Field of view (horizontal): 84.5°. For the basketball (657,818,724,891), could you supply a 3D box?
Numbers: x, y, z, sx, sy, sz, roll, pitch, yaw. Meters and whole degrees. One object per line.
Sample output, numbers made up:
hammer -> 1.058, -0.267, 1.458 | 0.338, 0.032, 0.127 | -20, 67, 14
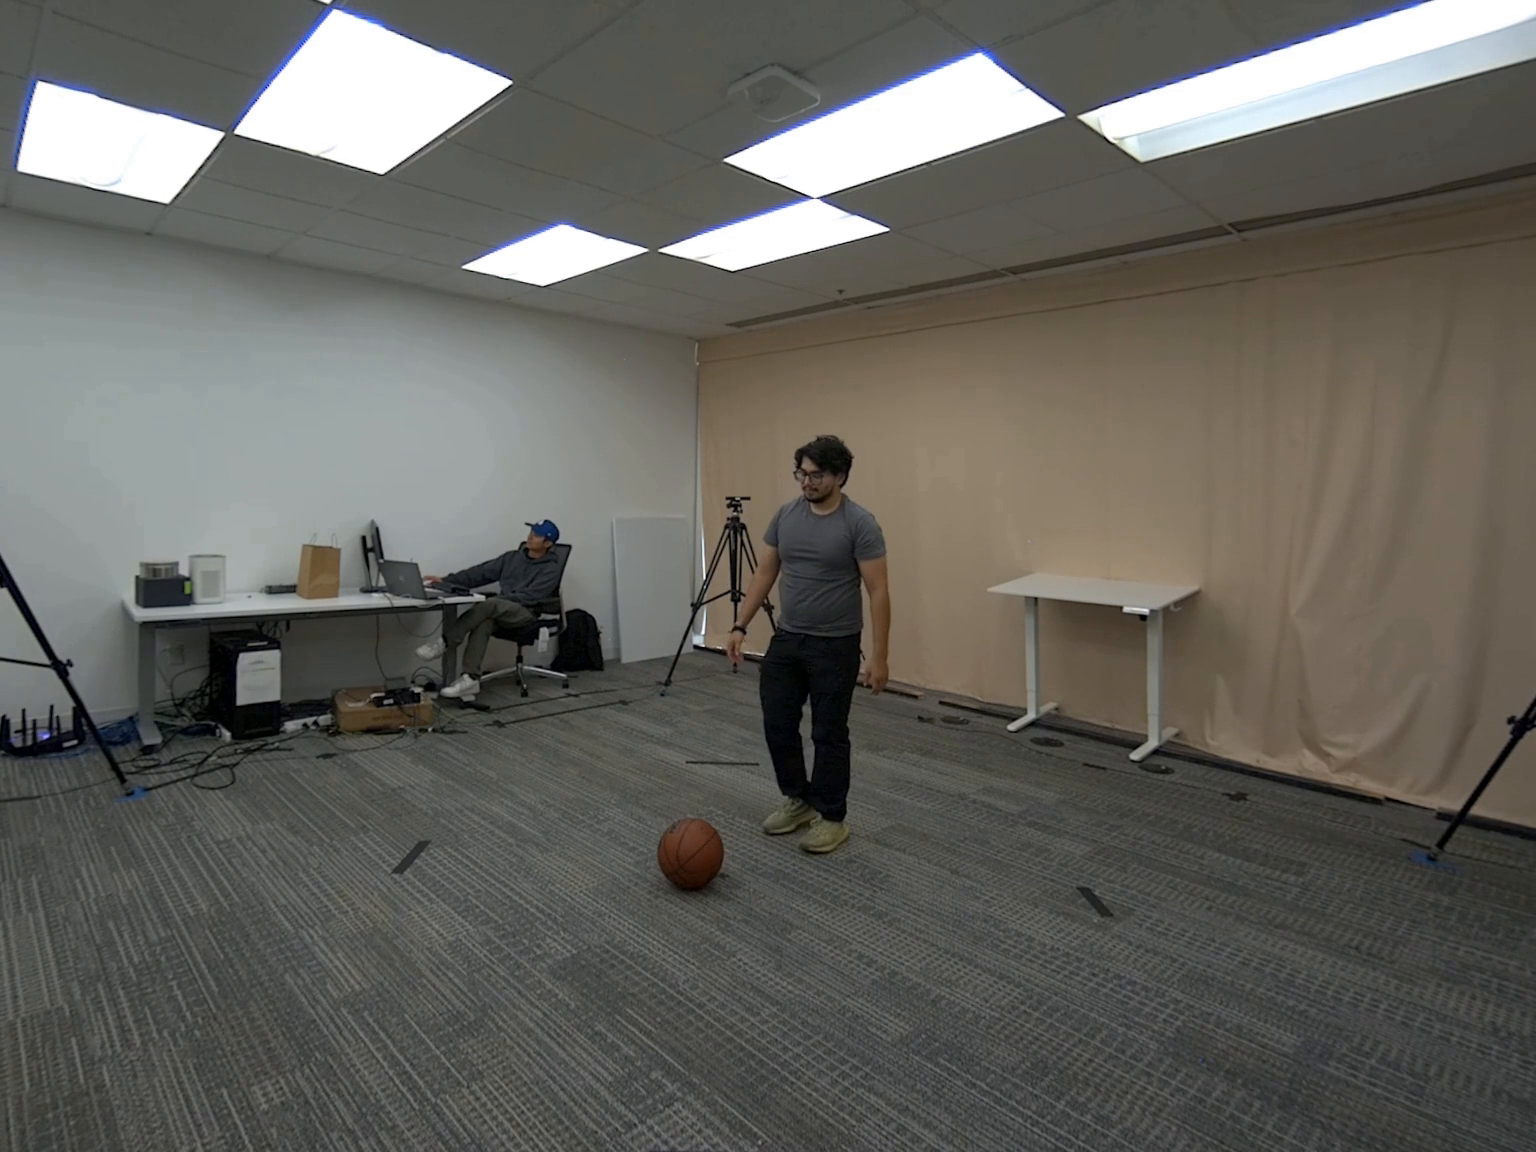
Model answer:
basketball -> -0.280, 0.991, 3.010 | 0.236, 0.235, 0.237 | 1, 4, -1
